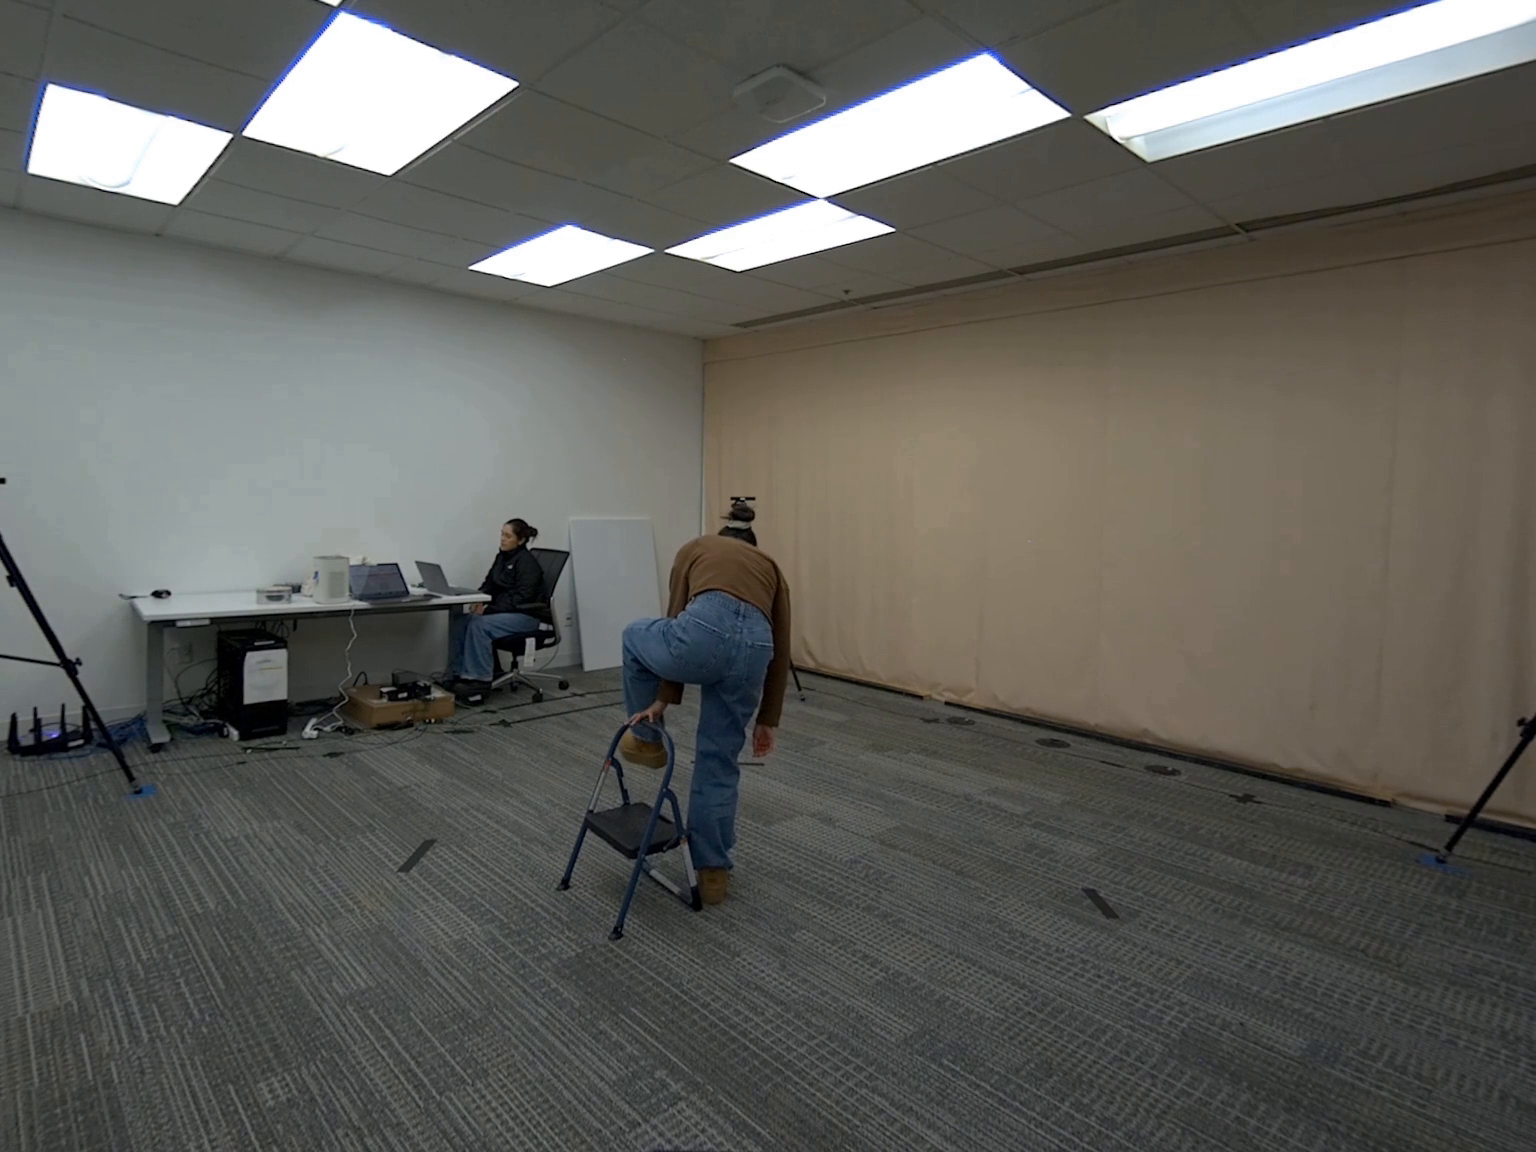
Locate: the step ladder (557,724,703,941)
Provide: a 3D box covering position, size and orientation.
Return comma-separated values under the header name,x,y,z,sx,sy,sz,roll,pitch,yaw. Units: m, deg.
name,x,y,z,sx,sy,sz,roll,pitch,yaw
step ladder,-0.476,0.816,2.885,0.341,0.605,0.441,0,4,-37
